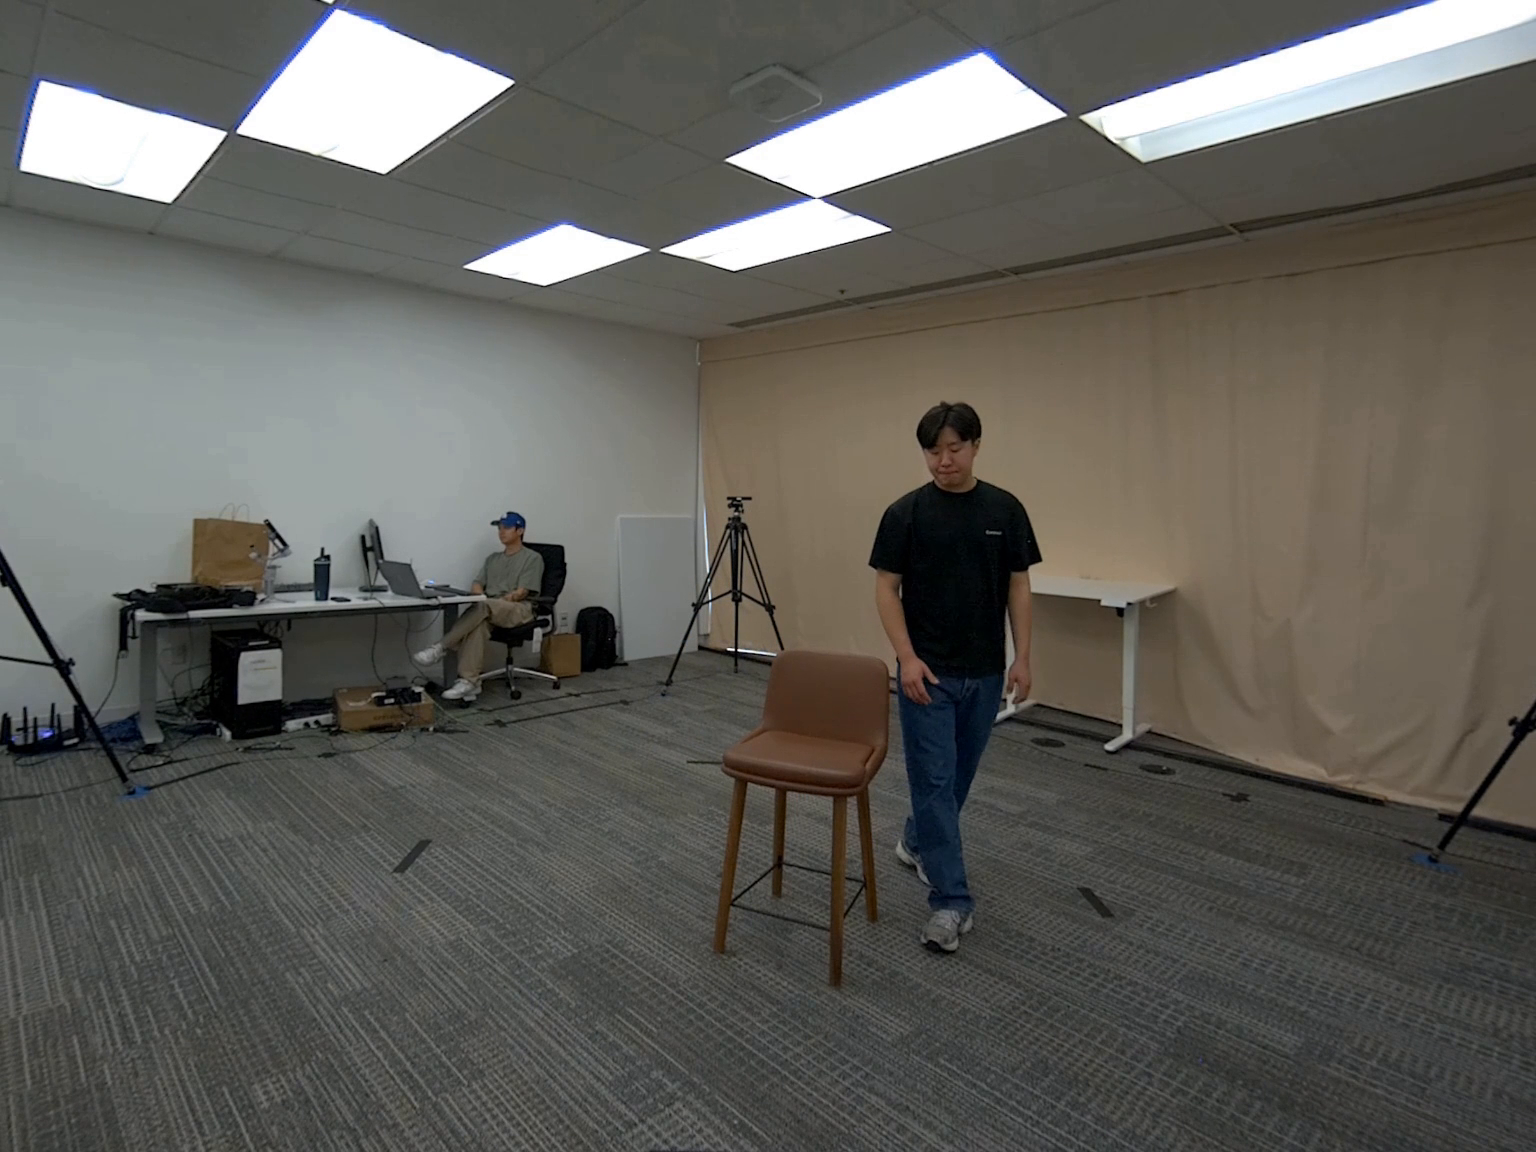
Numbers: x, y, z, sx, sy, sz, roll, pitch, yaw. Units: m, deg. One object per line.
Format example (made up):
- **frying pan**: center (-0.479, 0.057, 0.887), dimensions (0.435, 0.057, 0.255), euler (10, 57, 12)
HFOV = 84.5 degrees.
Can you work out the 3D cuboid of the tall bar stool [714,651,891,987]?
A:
- **tall bar stool**: center (0.120, 0.715, 2.667), dimensions (0.466, 0.889, 0.458), euler (3, 1, 26)
